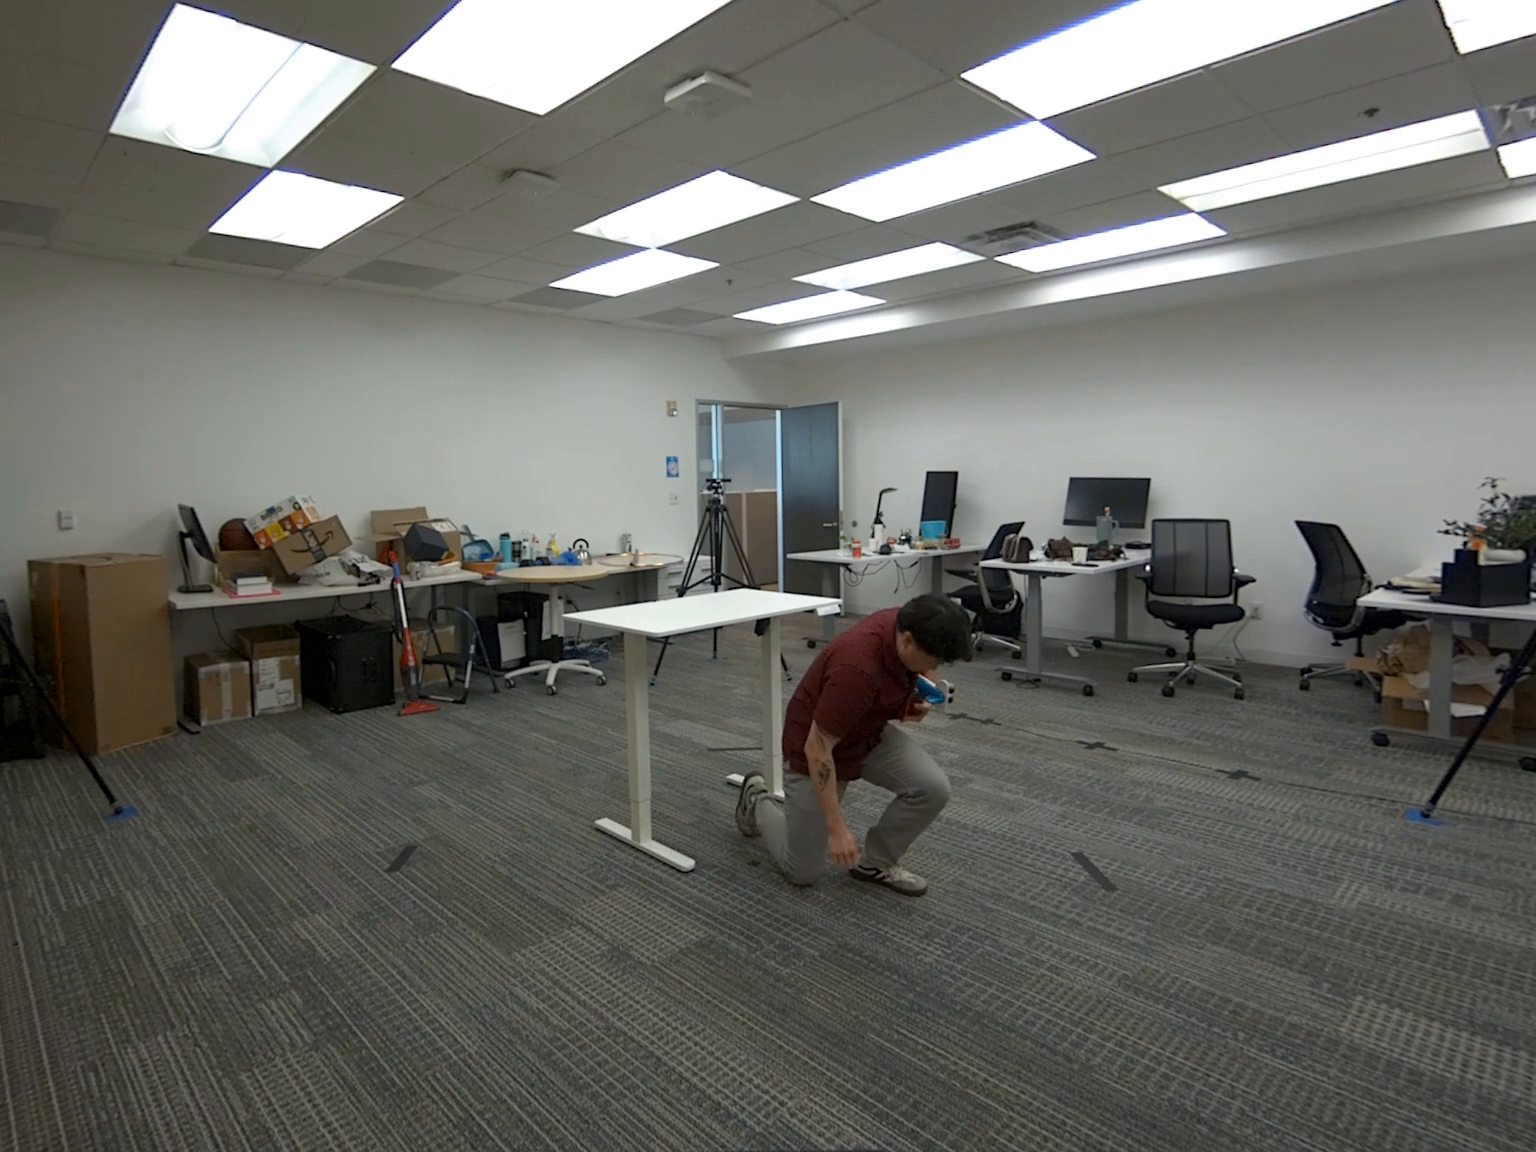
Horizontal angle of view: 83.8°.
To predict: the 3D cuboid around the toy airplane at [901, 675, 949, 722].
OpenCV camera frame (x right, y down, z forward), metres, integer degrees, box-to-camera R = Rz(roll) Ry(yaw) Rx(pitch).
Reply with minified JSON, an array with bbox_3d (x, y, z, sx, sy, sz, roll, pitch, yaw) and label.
[{"bbox_3d":[0.518,0.356,2.983,0.154,0.254,0.261,-8,-10,-23],"label":"toy airplane"}]
